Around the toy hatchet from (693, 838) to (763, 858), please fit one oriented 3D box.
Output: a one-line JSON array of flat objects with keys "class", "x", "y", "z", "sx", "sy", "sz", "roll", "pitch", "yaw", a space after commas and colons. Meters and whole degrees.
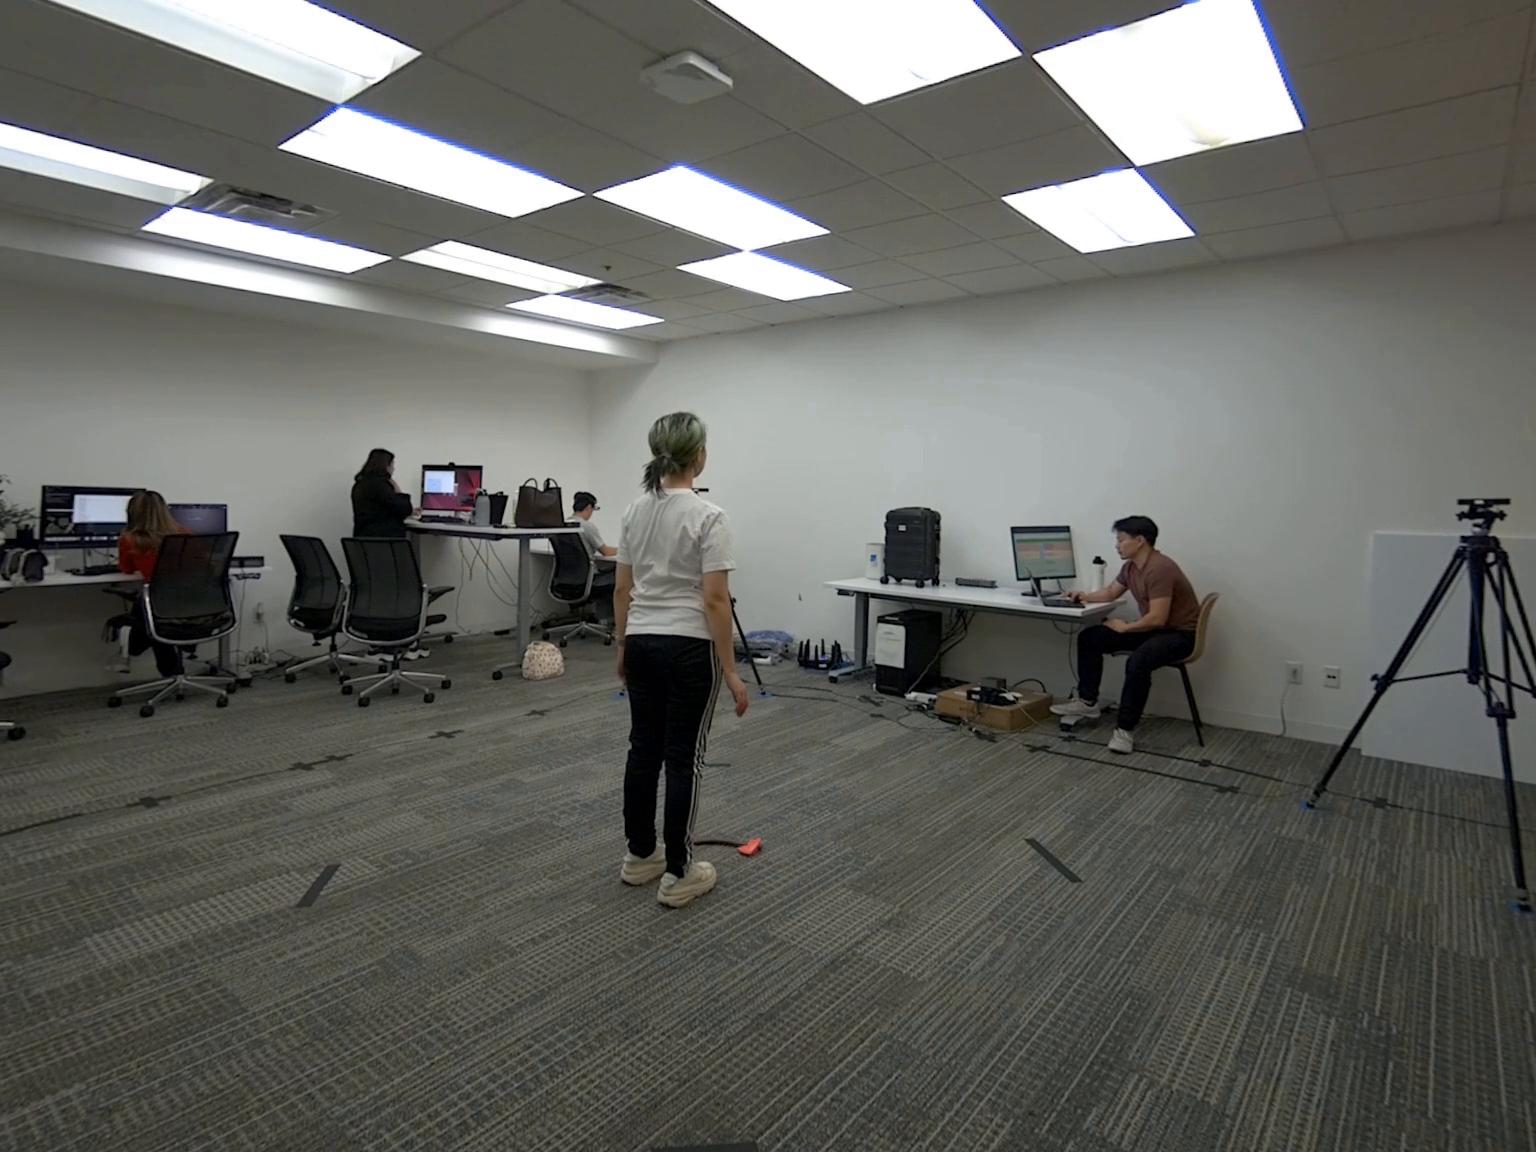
[{"class": "toy hatchet", "x": -0.169, "y": 1.046, "z": 3.285, "sx": 0.271, "sy": 0.029, "sz": 0.132, "roll": -2, "pitch": 10, "yaw": 2}]
